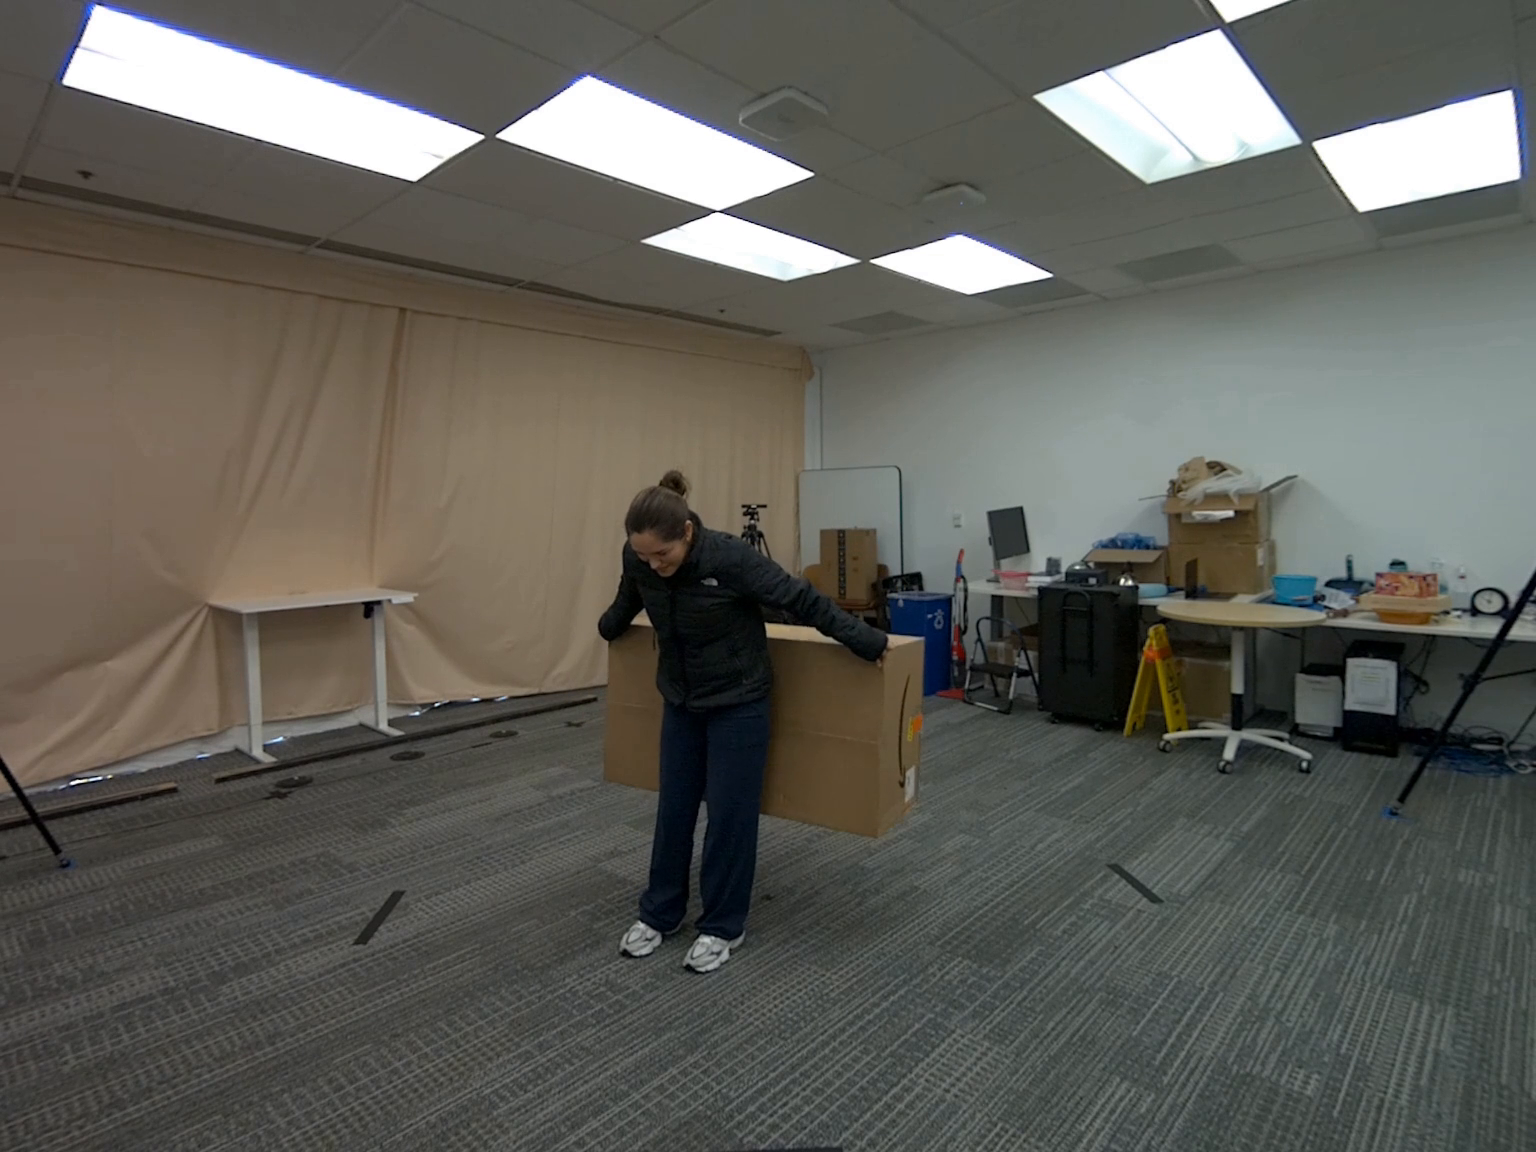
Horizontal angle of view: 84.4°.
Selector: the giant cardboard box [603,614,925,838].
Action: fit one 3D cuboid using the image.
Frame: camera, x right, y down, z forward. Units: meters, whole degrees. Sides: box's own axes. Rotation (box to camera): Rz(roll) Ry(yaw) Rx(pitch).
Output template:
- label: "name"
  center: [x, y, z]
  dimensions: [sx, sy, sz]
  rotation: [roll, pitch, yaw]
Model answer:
- label: "giant cardboard box"
  center: [-0.010, 0.476, 2.949]
  dimensions: [1.054, 0.577, 0.415]
  rotation: [3, 2, 28]
